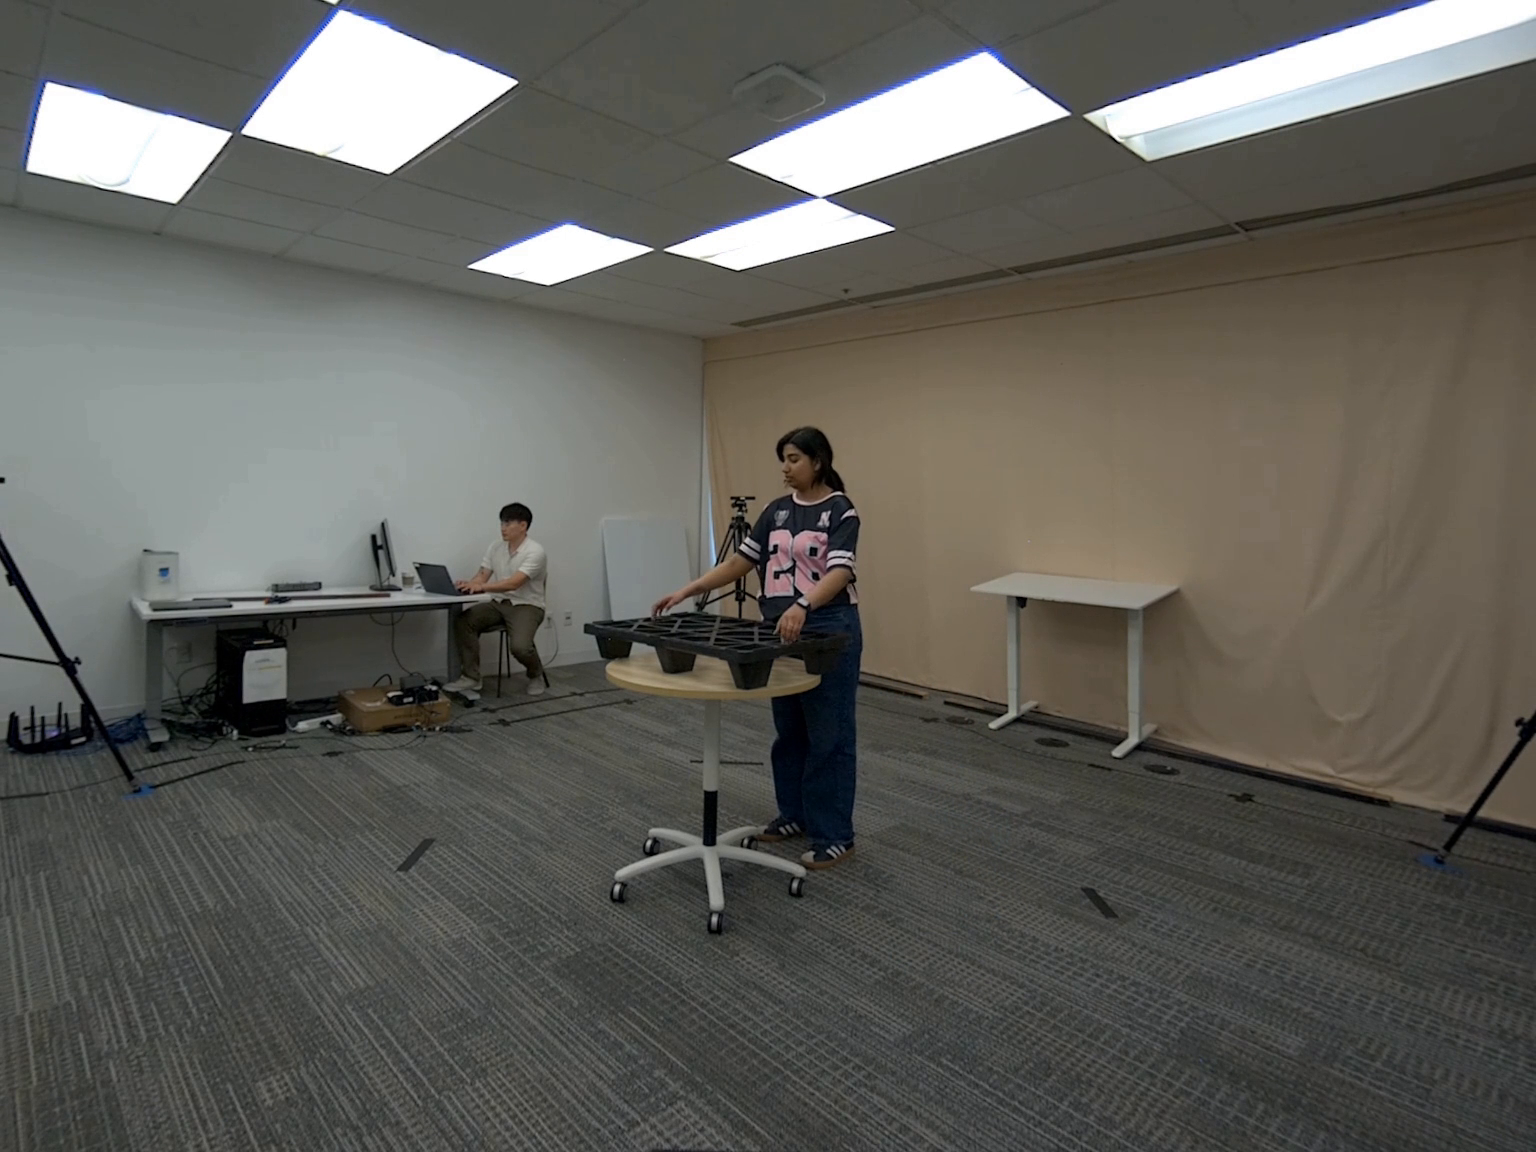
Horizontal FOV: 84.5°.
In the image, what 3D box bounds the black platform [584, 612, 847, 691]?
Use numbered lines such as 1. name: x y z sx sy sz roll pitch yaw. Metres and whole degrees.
1. black platform: -0.199 0.260 3.063 0.826 0.143 0.591 6 6 42
